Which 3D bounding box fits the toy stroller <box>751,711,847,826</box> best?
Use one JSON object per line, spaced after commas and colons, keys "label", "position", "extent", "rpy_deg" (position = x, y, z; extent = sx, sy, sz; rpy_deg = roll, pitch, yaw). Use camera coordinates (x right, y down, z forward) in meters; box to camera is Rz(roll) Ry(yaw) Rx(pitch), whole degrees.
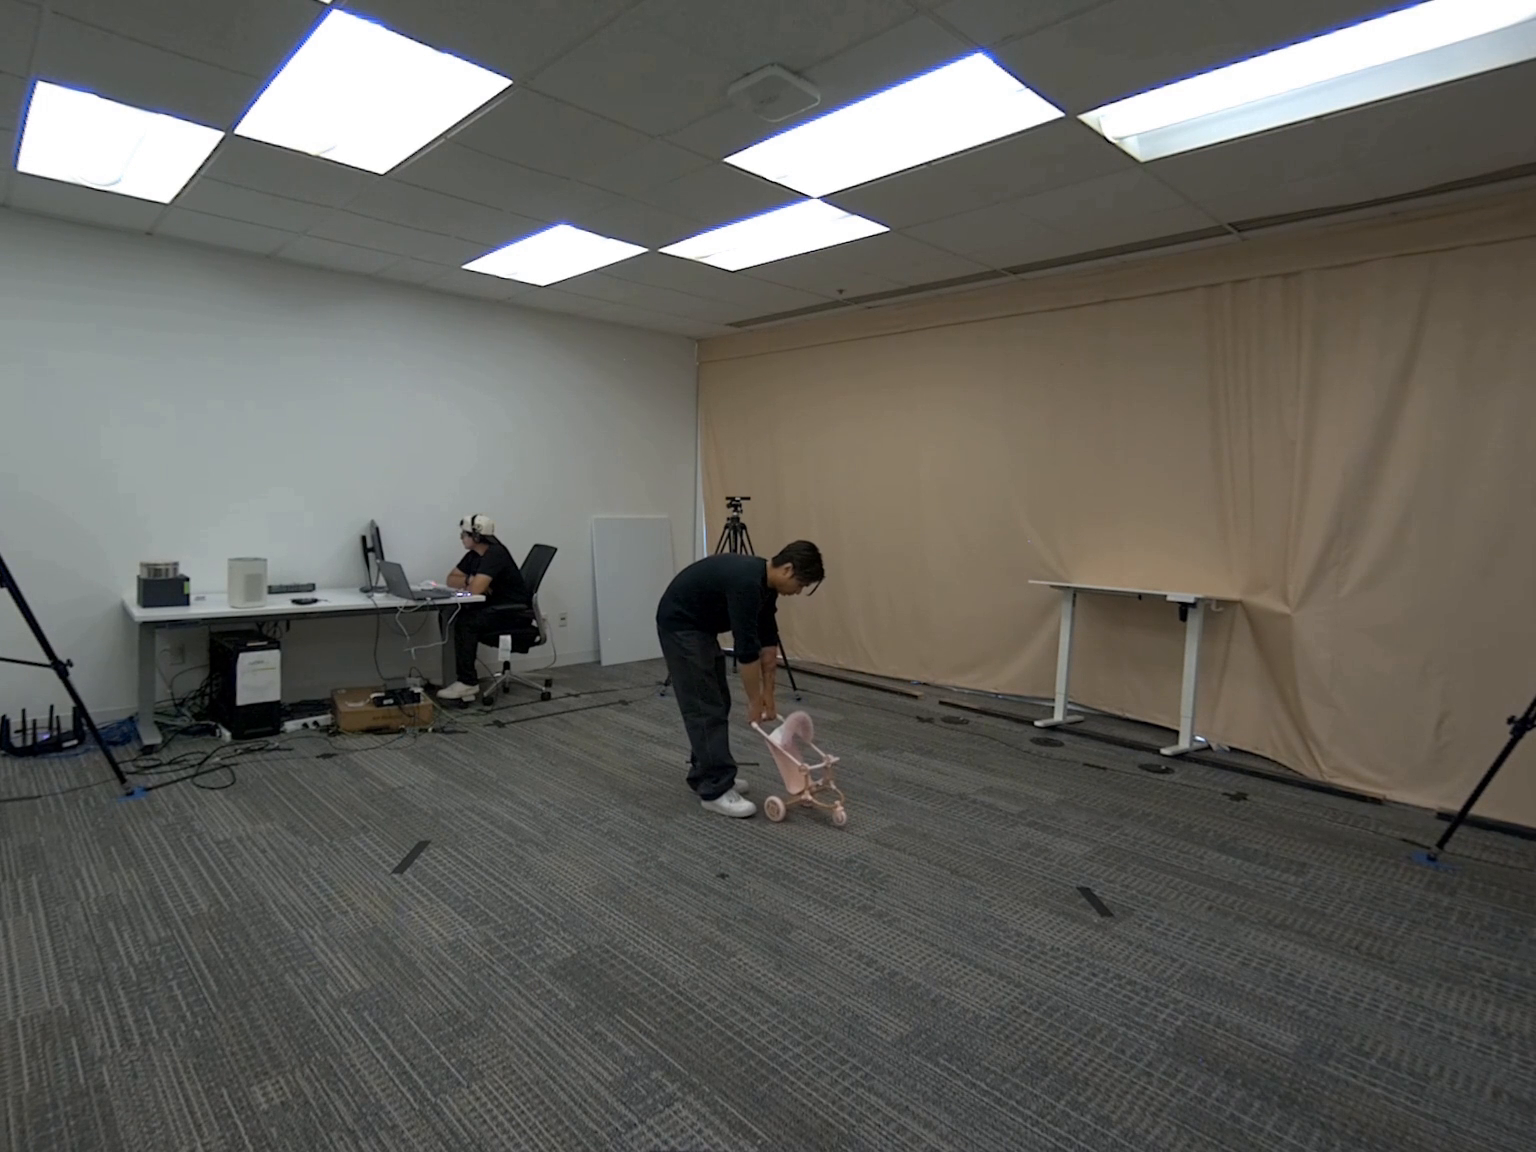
{"label": "toy stroller", "position": [0.141, 0.838, 3.703], "extent": [0.275, 0.540, 0.346], "rpy_deg": [-1, -16, -46]}
